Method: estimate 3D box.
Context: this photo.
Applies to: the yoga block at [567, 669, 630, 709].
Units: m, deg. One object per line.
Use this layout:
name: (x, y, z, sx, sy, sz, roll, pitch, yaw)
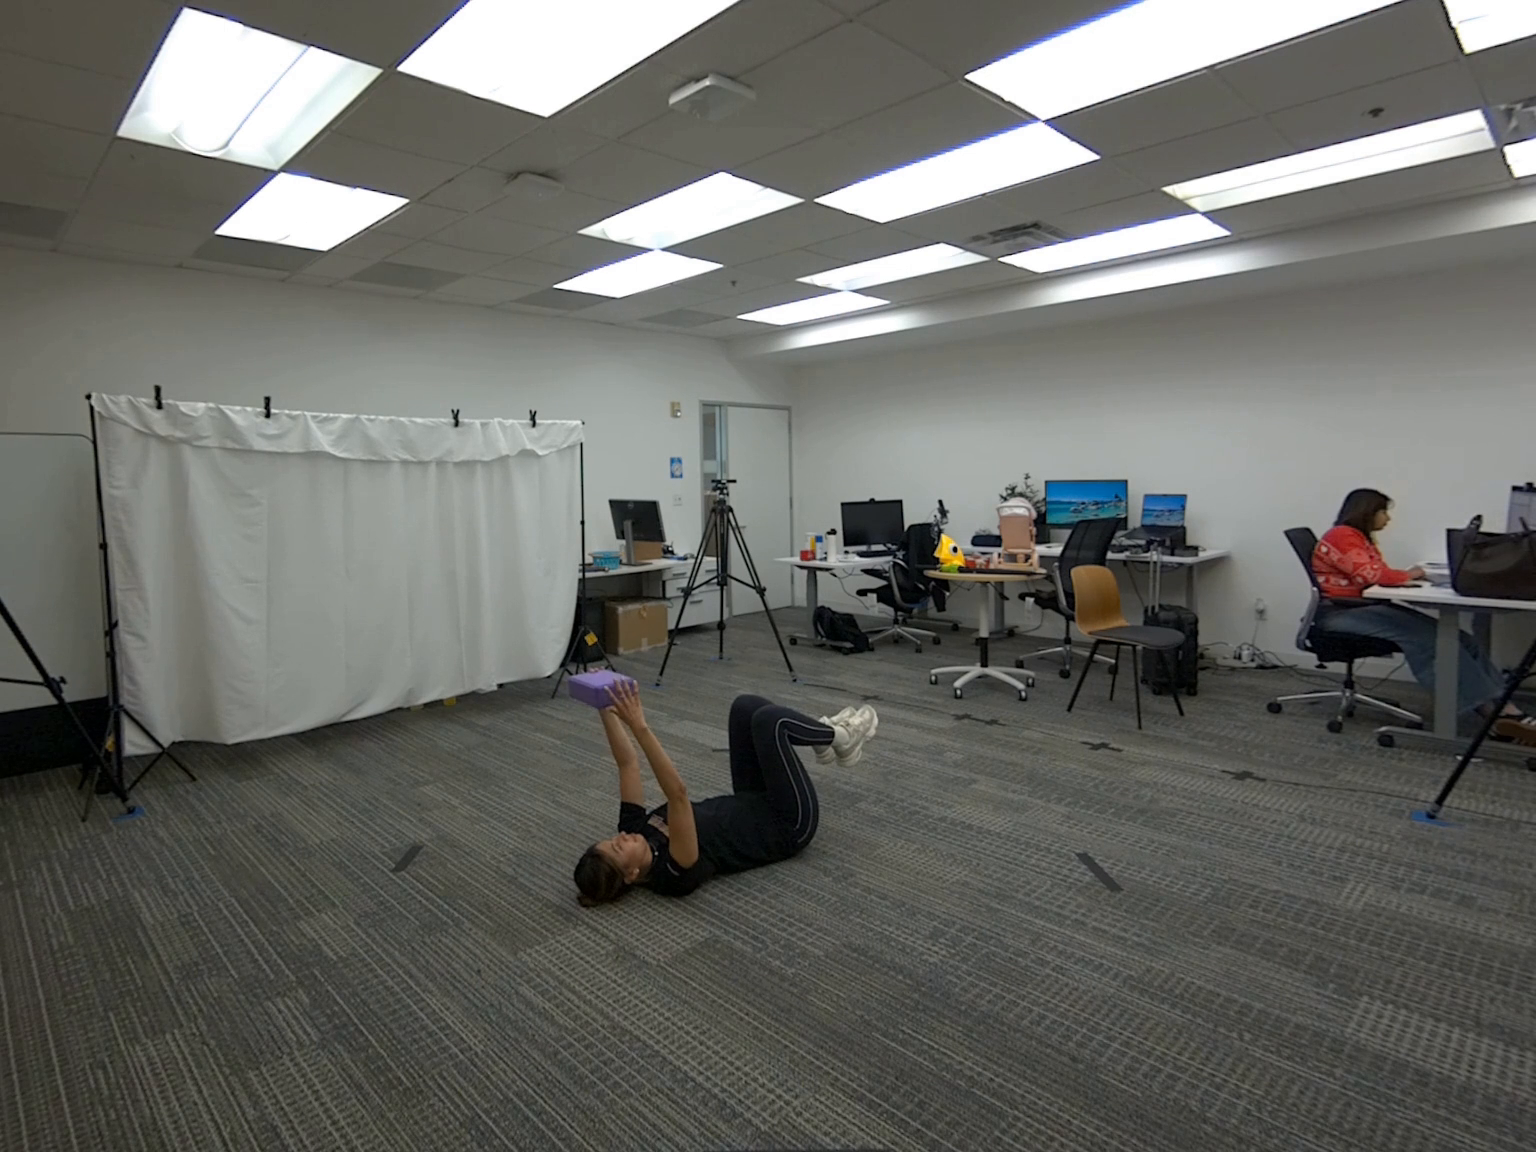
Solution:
yoga block: (-0.565, 0.385, 2.898, 0.145, 0.076, 0.236, -8, 7, -32)
